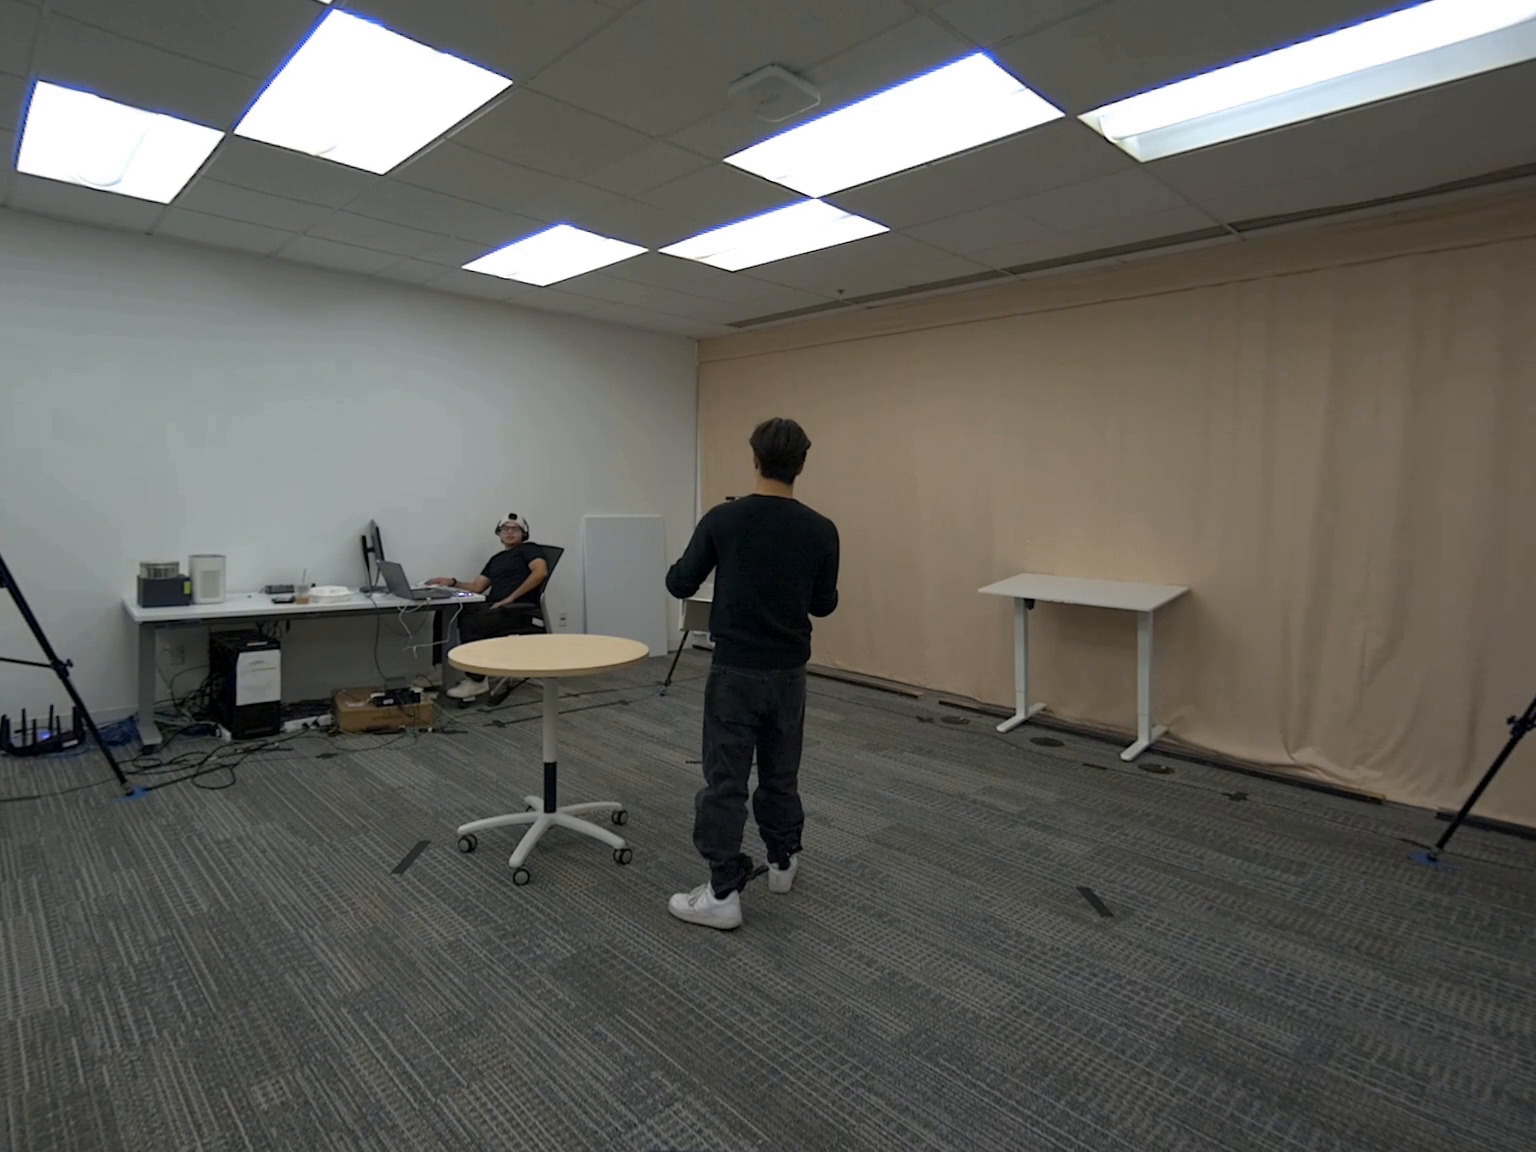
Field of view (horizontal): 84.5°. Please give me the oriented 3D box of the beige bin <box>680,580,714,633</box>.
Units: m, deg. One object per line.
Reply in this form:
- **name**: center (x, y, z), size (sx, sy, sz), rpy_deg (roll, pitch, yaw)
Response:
- **beige bin**: center (-0.143, 0.060, 3.368), size (0.420, 0.186, 0.386), rpy_deg (6, 38, -6)
